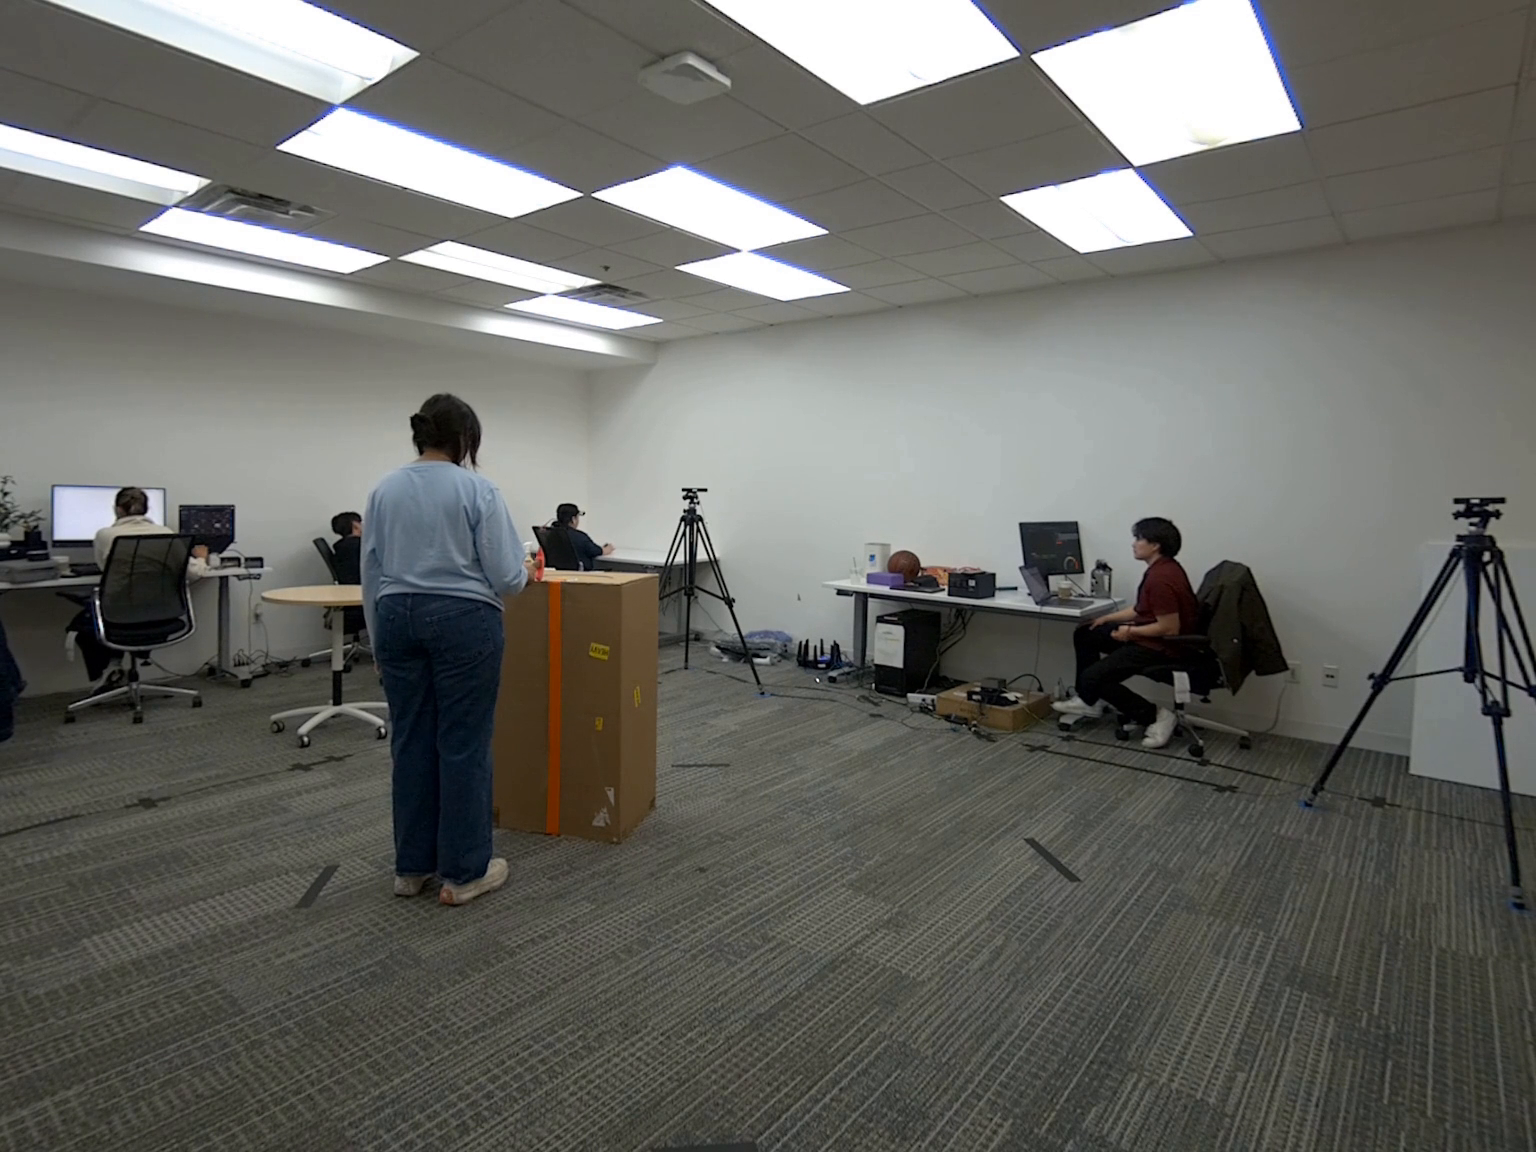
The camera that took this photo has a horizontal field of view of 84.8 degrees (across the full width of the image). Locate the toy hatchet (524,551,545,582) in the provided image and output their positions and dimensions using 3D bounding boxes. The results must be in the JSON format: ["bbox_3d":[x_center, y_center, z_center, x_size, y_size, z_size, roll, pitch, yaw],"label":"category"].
[{"bbox_3d":[-0.912,-0.016,3.273,0.029,0.128,0.278,0,24,-11],"label":"toy hatchet"}]
